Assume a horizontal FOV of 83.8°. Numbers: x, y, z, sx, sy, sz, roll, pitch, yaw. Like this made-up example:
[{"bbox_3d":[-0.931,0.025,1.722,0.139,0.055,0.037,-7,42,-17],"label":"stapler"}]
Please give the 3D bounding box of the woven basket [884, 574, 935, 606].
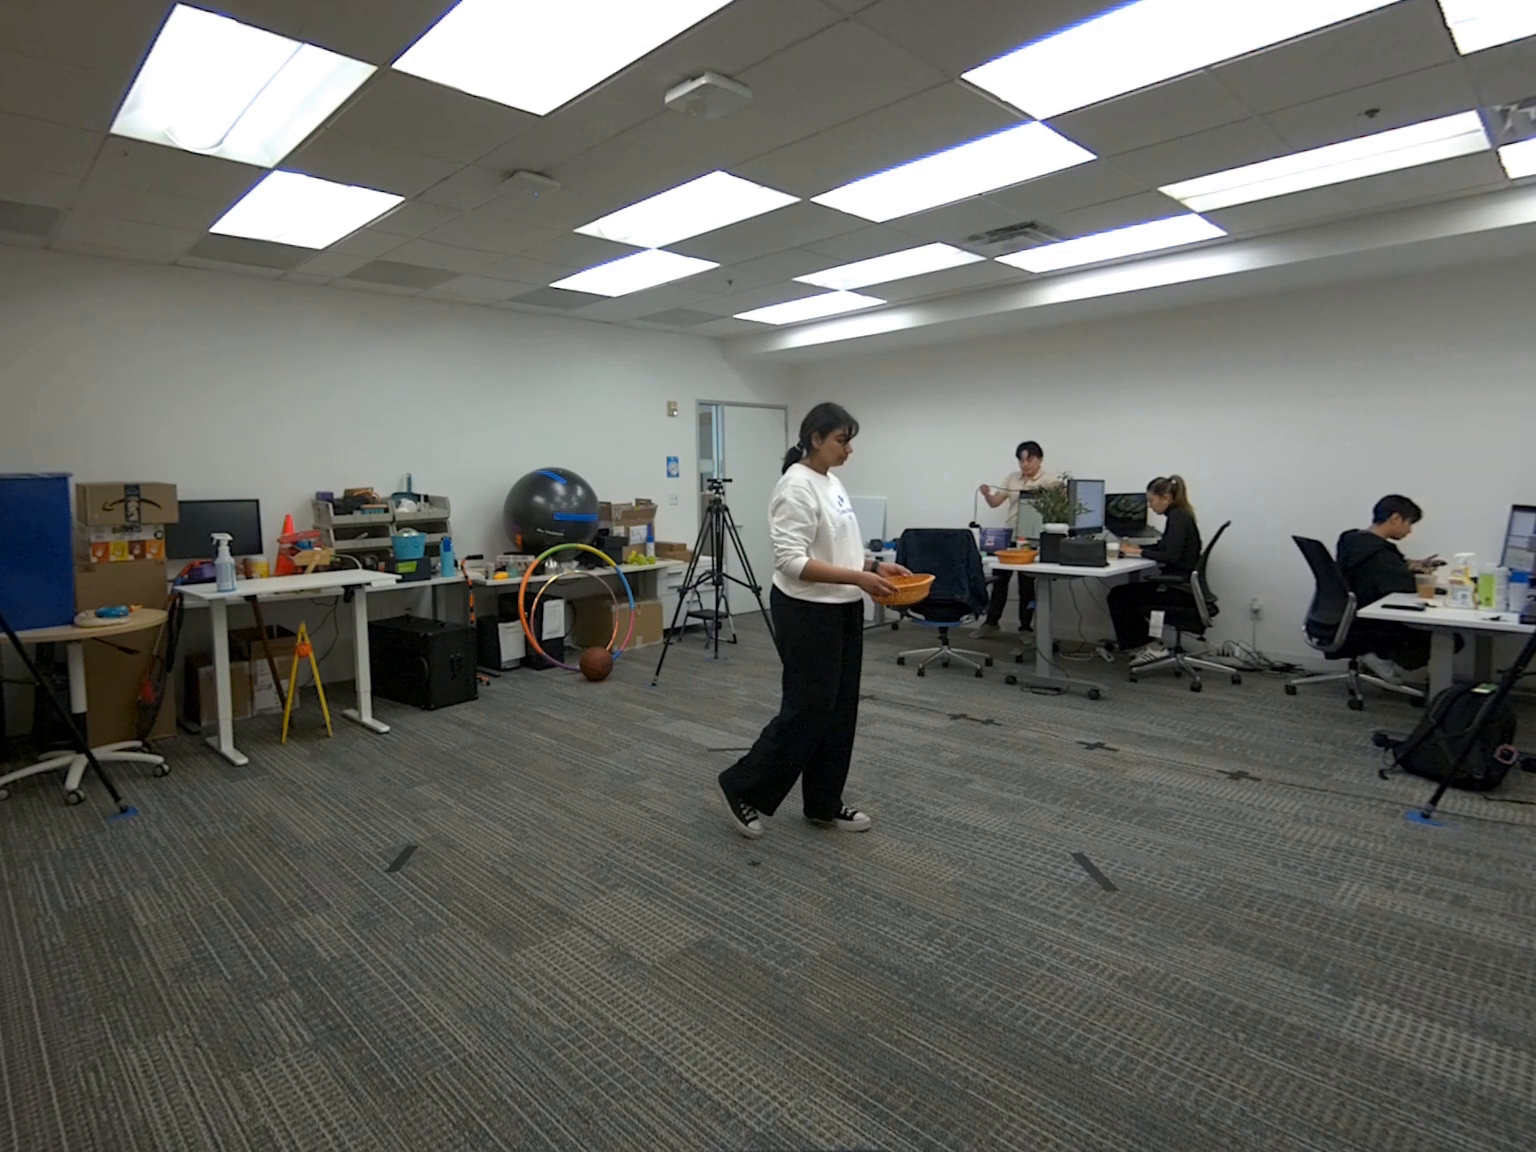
[{"bbox_3d":[0.484,0.054,3.312,0.259,0.073,0.343,2,9,34],"label":"woven basket"}]
